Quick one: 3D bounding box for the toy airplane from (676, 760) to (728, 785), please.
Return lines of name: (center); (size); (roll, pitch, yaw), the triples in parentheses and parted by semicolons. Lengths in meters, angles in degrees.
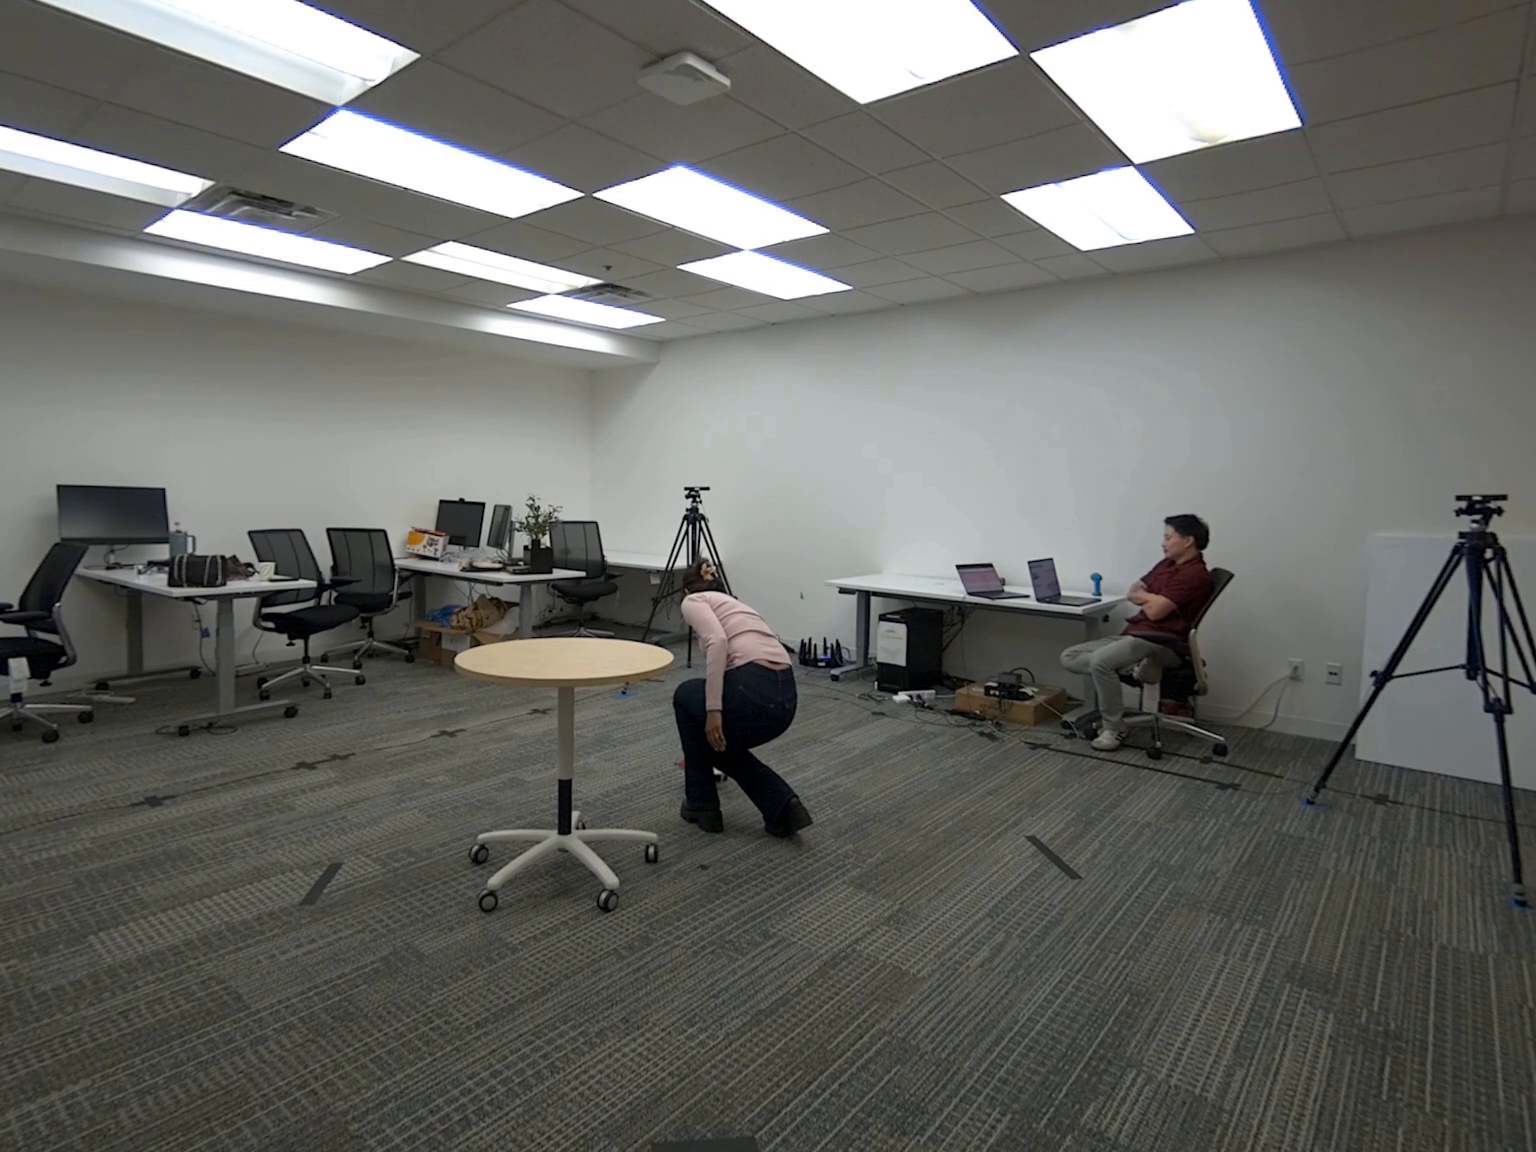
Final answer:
toy airplane: (-0.278, 0.862, 3.989); (0.265, 0.156, 0.245); (2, 2, 23)
